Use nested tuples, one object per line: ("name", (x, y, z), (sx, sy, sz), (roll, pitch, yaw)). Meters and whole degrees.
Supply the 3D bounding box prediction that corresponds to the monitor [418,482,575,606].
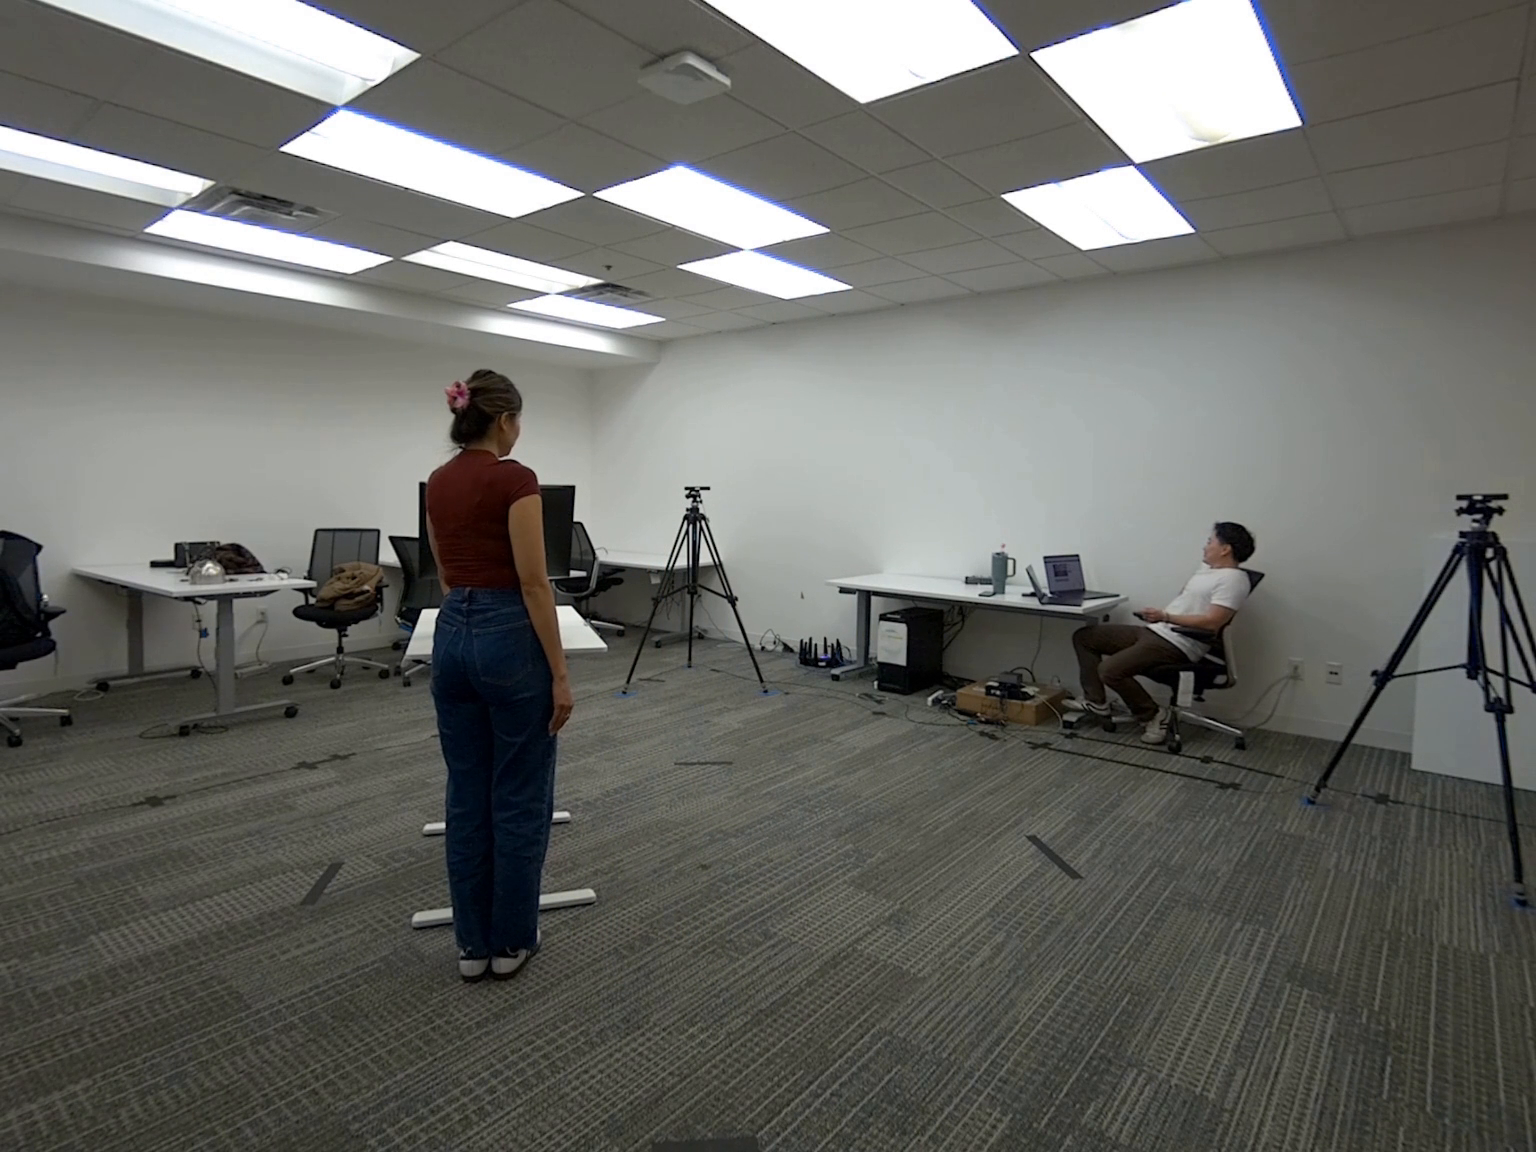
("monitor", (-0.965, -0.071, 3.003), (0.527, 0.520, 0.192), (0, 5, -22))
